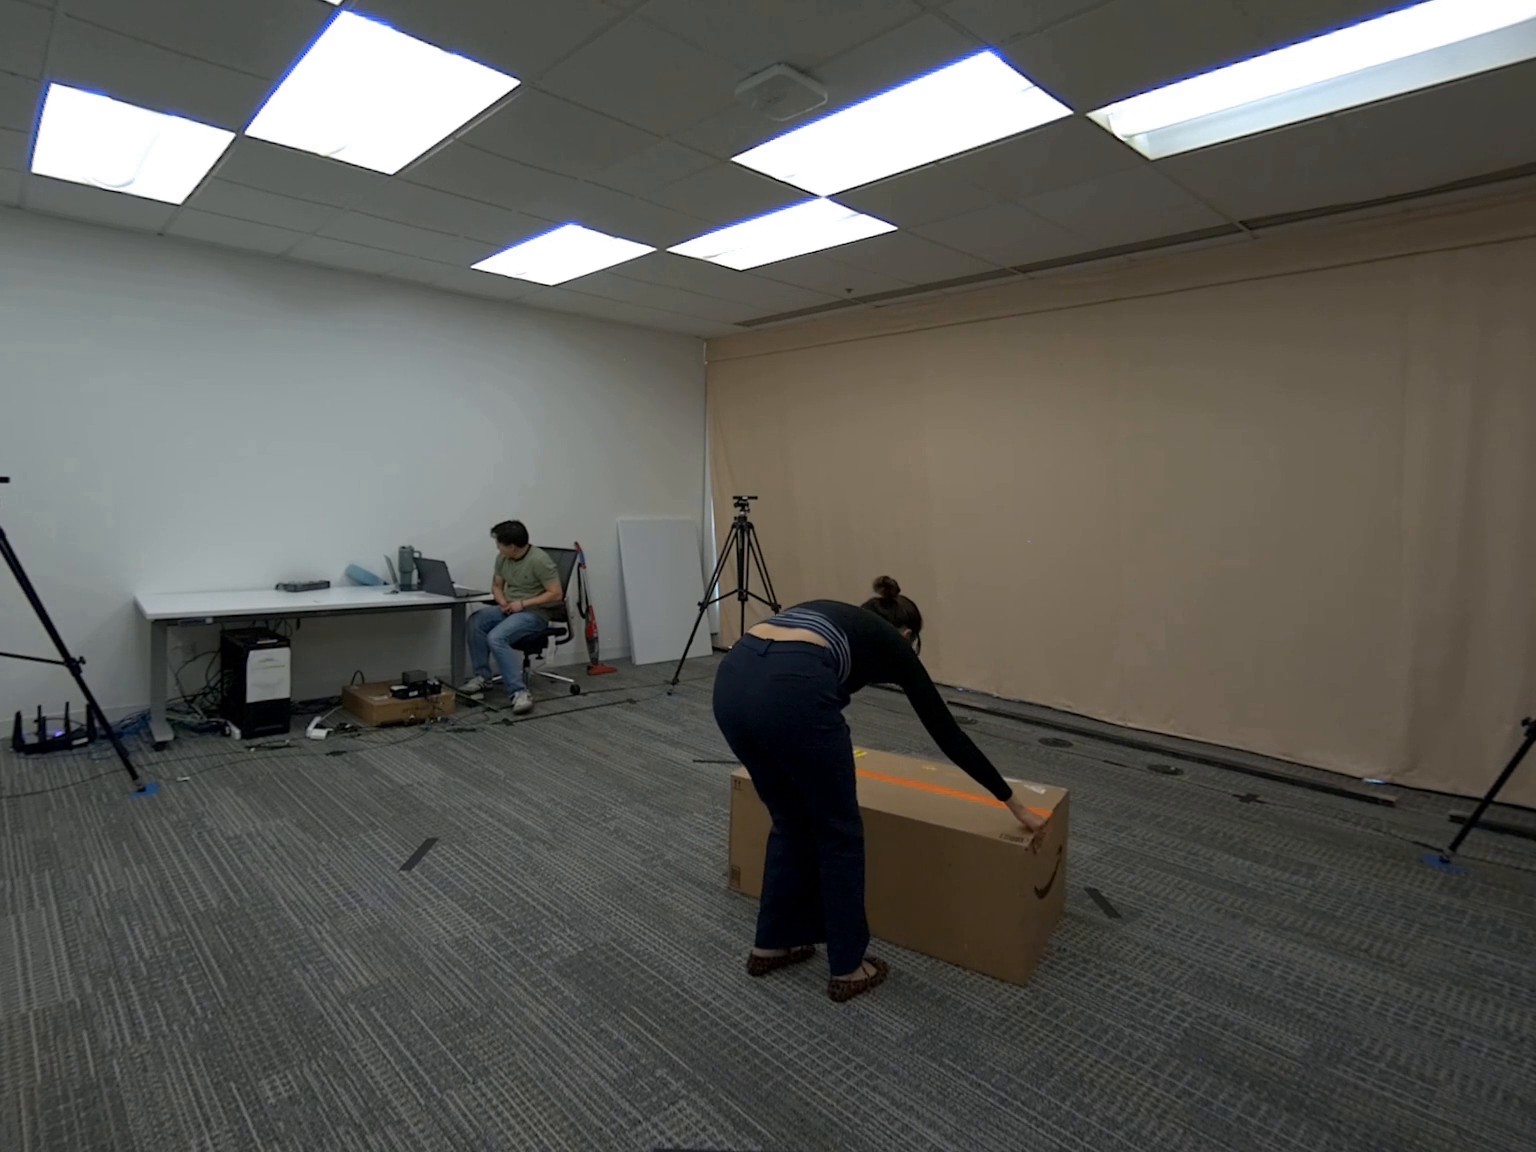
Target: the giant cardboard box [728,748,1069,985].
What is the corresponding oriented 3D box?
[{"bbox_3d":[0.438,0.920,2.928,1.049,0.425,0.566,5,6,32],"label":"giant cardboard box"}]
